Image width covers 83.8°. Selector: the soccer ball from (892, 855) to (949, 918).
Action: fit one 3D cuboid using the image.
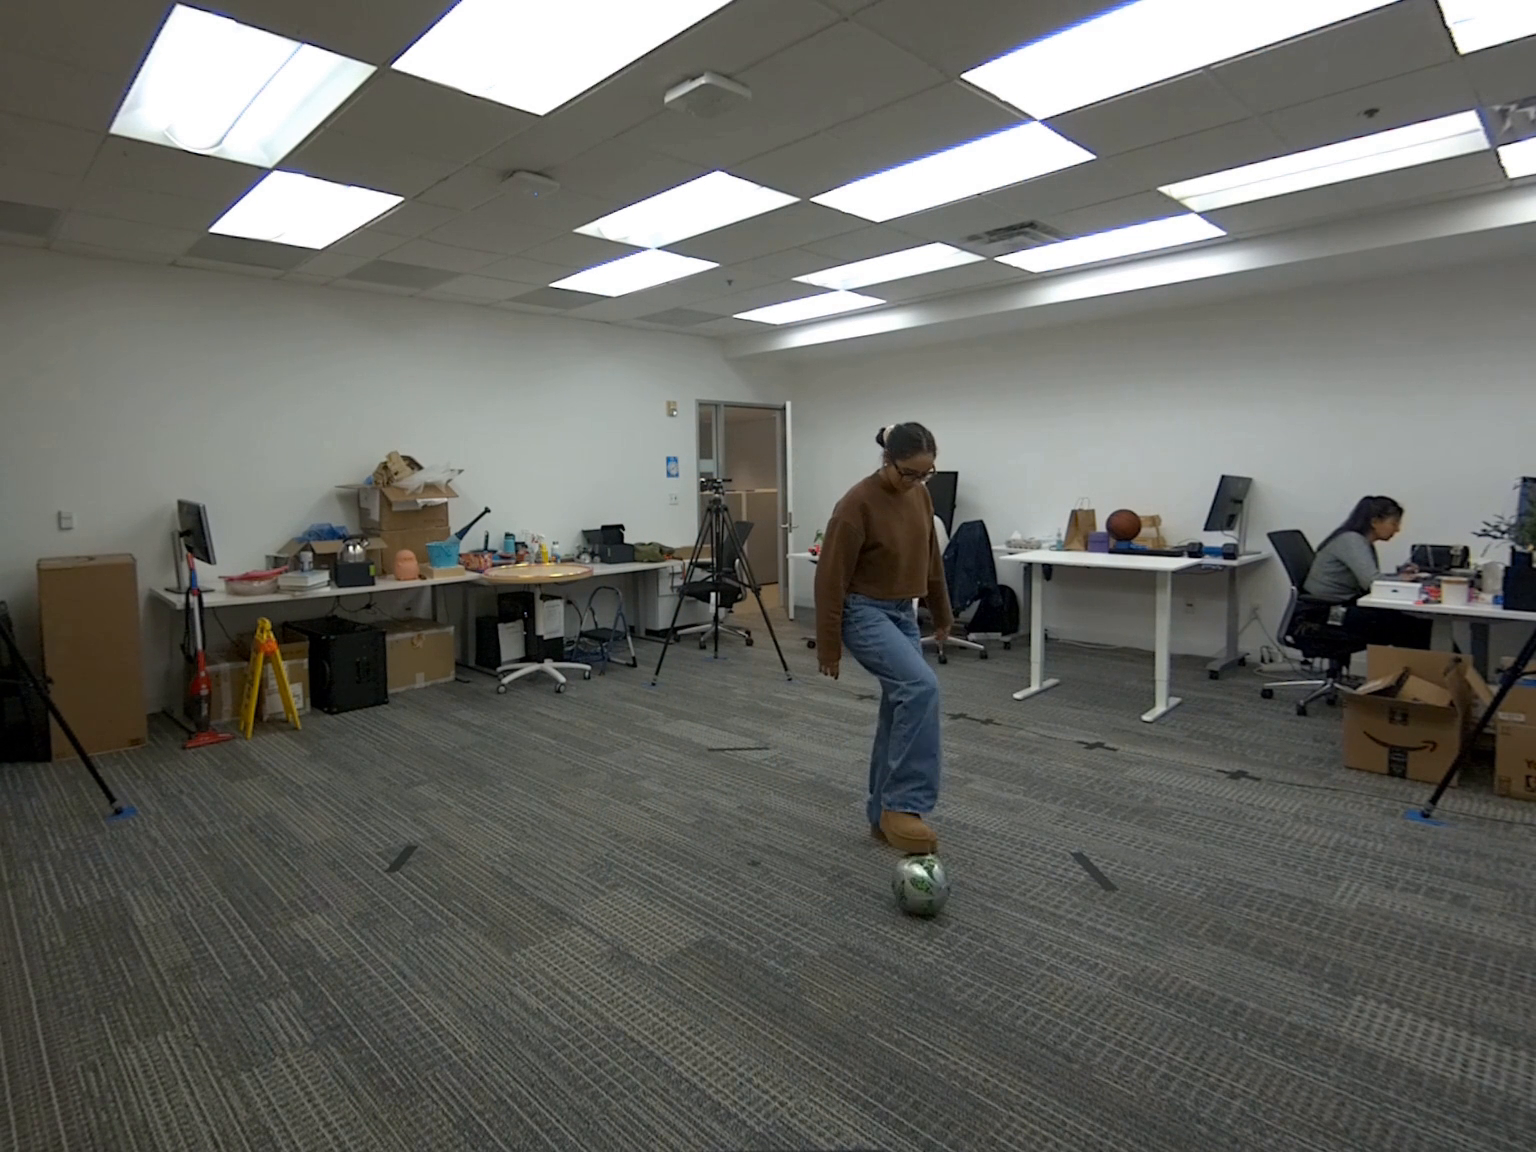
[{"bbox_3d":[0.487,0.985,2.755,0.187,0.187,0.188,-1,5,-2],"label":"soccer ball"}]
